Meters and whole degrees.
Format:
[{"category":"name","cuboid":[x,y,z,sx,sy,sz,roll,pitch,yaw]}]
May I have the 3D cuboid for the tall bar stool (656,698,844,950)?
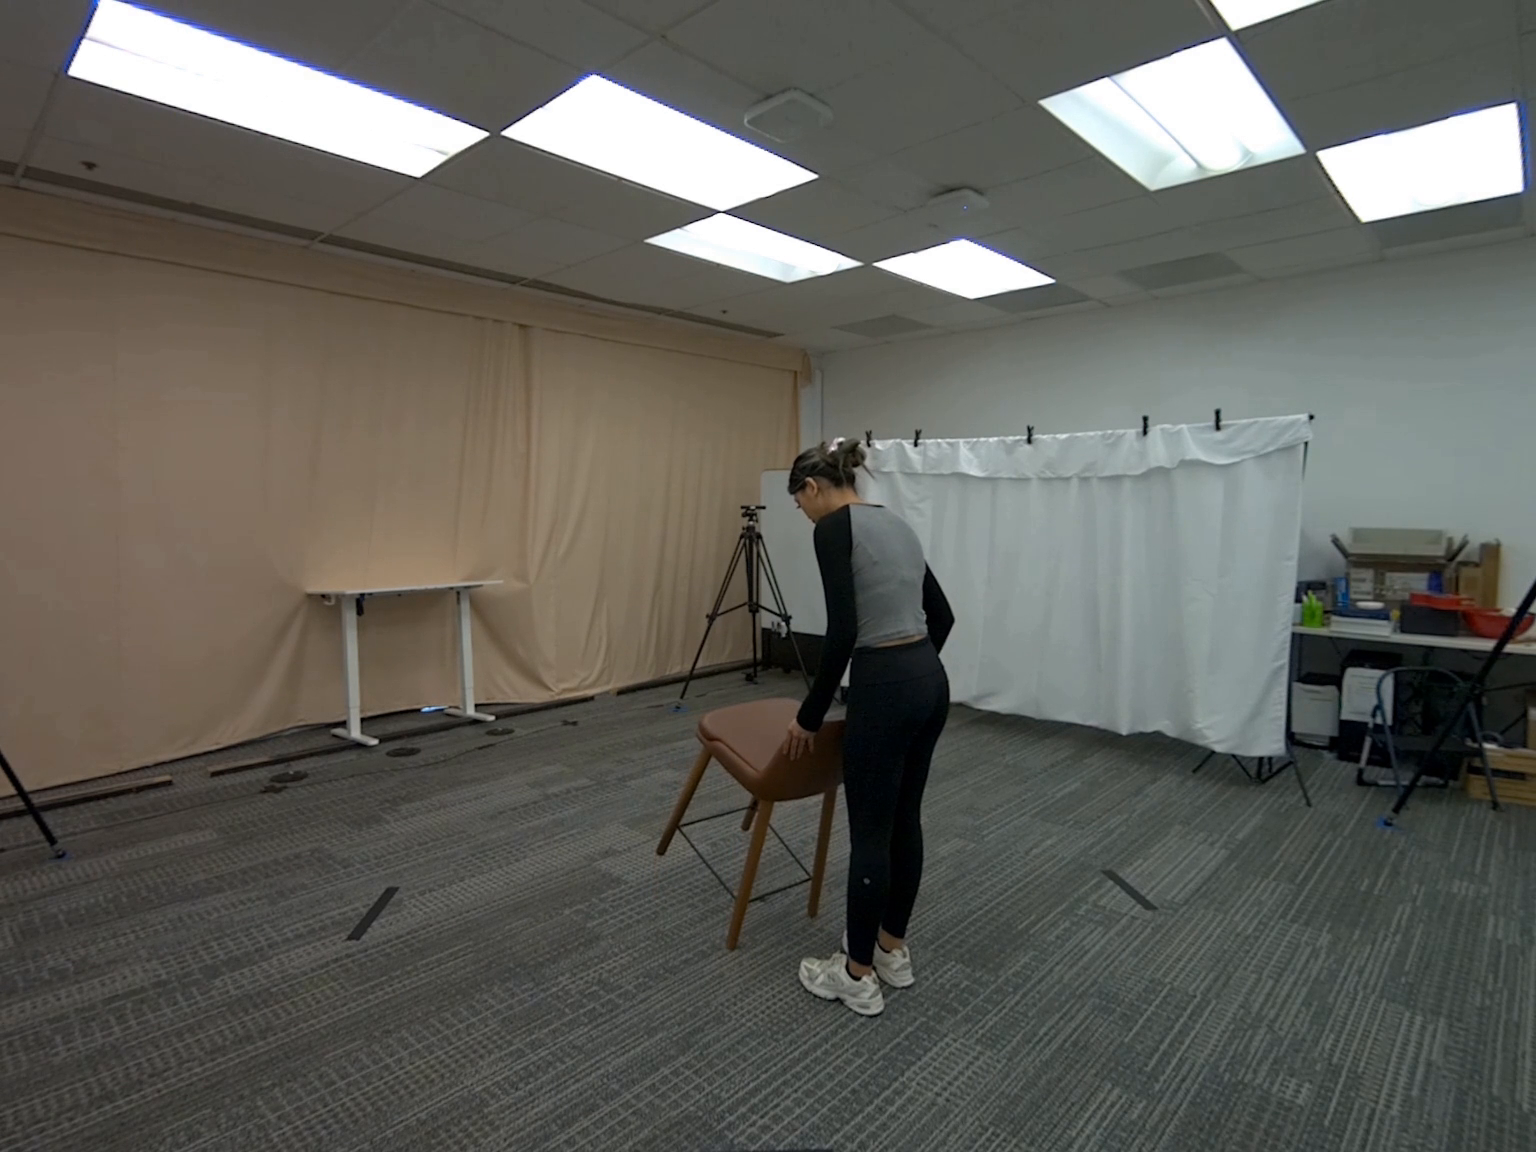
[{"category":"tall bar stool","cuboid":[0.013,0.681,2.737,0.443,0.884,0.485,-2,30,-38]}]
